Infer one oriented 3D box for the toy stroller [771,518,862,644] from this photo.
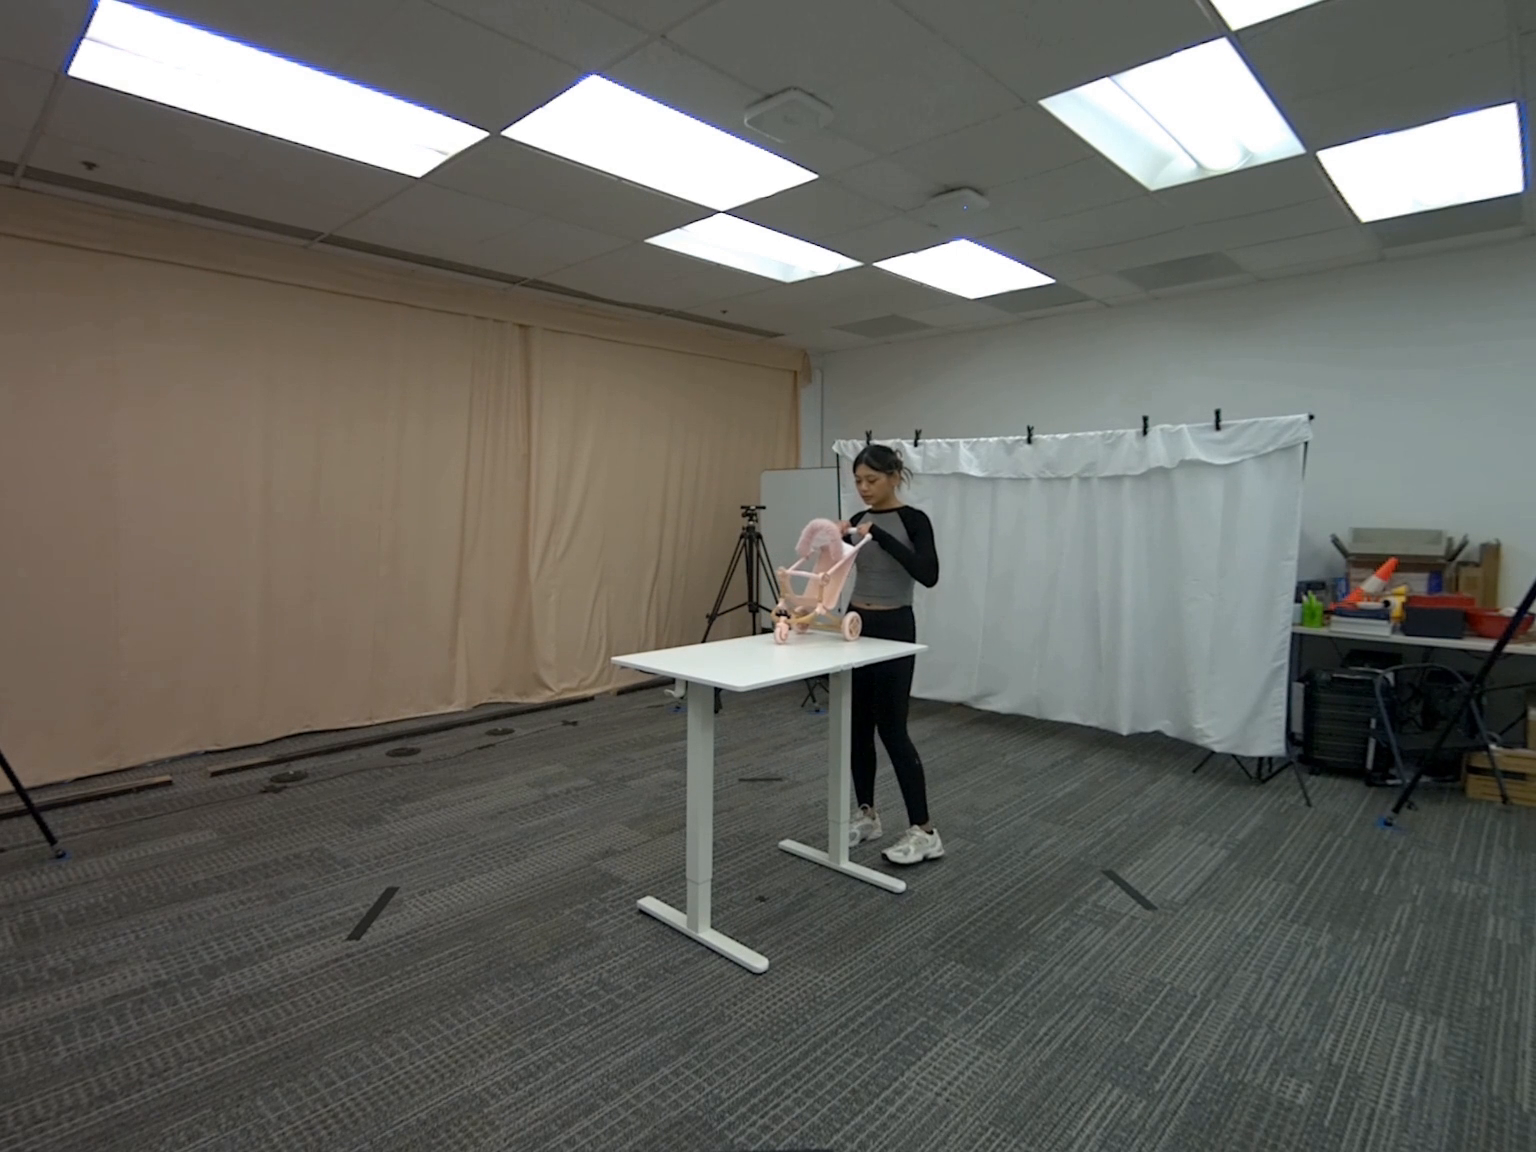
[{"bbox_3d":[0.188,0.020,3.213,0.329,0.536,0.291,19,-10,-40],"label":"toy stroller"}]
